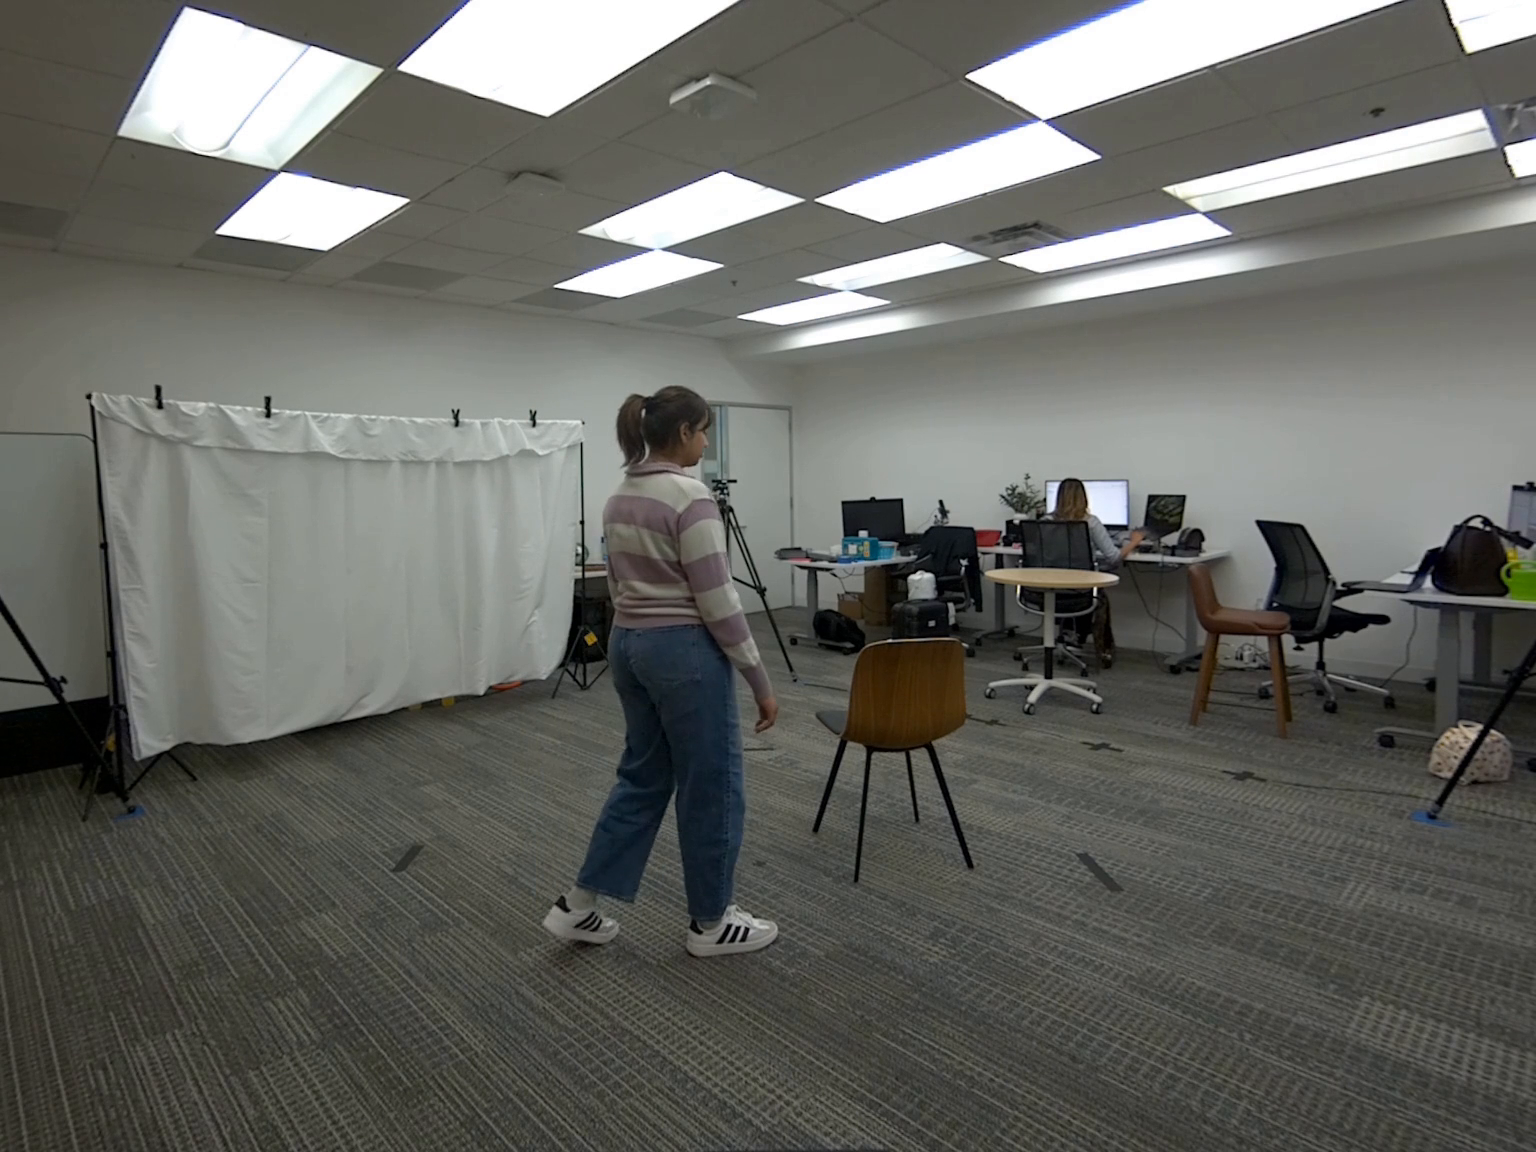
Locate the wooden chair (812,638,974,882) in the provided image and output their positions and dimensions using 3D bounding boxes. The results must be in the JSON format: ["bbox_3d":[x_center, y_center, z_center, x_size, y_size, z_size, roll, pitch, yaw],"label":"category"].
[{"bbox_3d":[0.443,0.602,3.190,0.472,0.871,0.534,-3,9,-15],"label":"wooden chair"}]
